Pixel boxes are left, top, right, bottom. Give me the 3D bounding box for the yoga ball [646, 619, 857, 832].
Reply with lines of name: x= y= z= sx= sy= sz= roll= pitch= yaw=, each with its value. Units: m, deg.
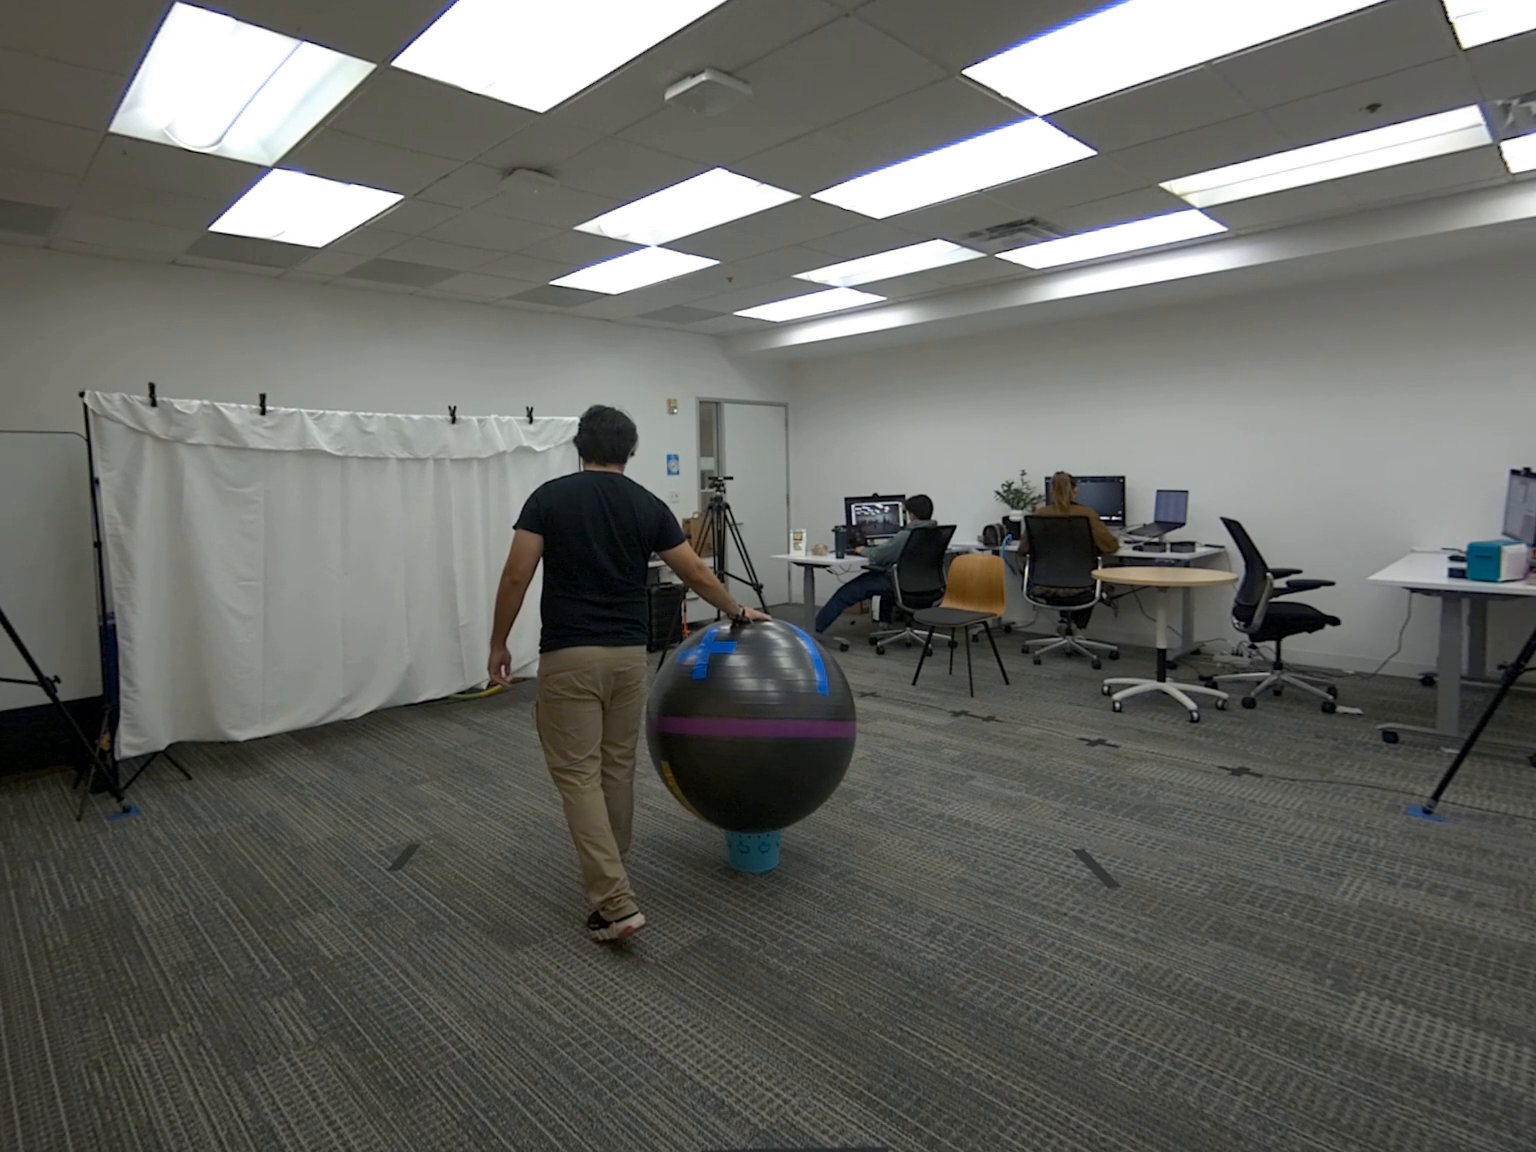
yoga ball: x=-0.061 y=0.530 z=3.093 sx=0.757 sy=0.755 sz=0.762 roll=-1 pitch=5 yaw=-2
